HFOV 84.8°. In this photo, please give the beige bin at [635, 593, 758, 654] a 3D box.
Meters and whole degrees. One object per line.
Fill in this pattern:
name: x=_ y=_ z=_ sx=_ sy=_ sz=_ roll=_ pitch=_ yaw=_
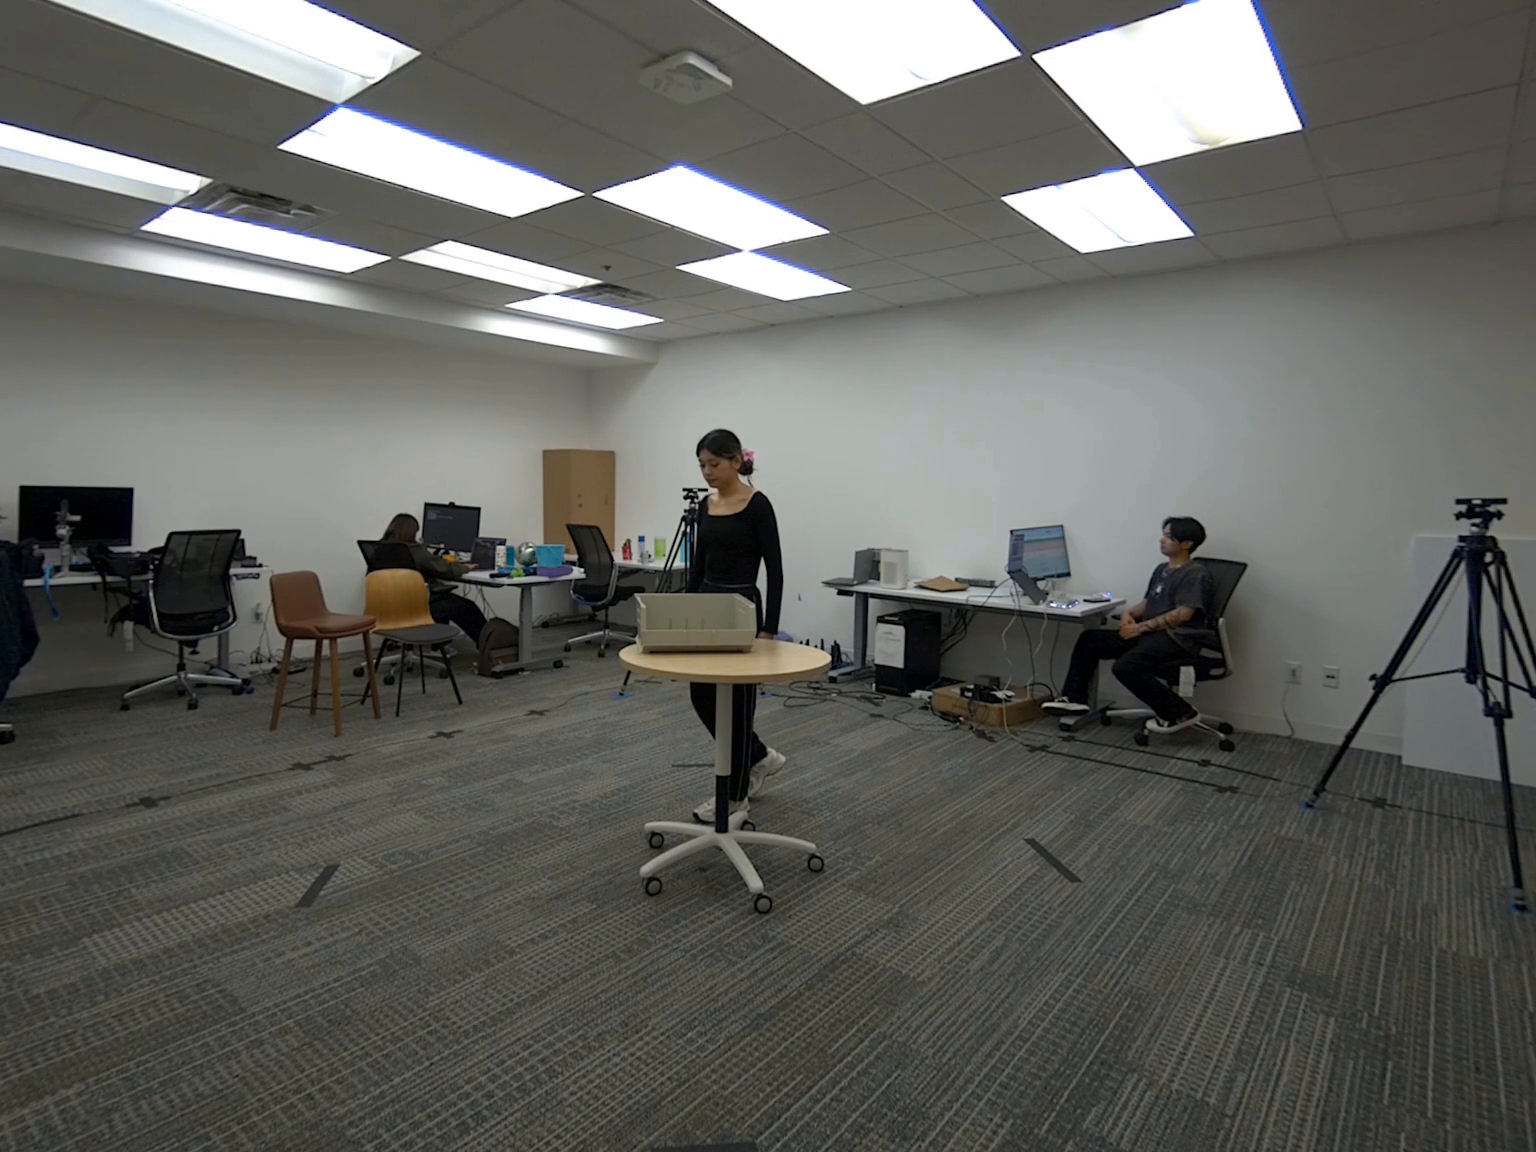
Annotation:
beige bin: x=-0.295 y=0.174 z=3.231 sx=0.418 sy=0.188 sz=0.382 roll=0 pitch=4 yaw=-11
